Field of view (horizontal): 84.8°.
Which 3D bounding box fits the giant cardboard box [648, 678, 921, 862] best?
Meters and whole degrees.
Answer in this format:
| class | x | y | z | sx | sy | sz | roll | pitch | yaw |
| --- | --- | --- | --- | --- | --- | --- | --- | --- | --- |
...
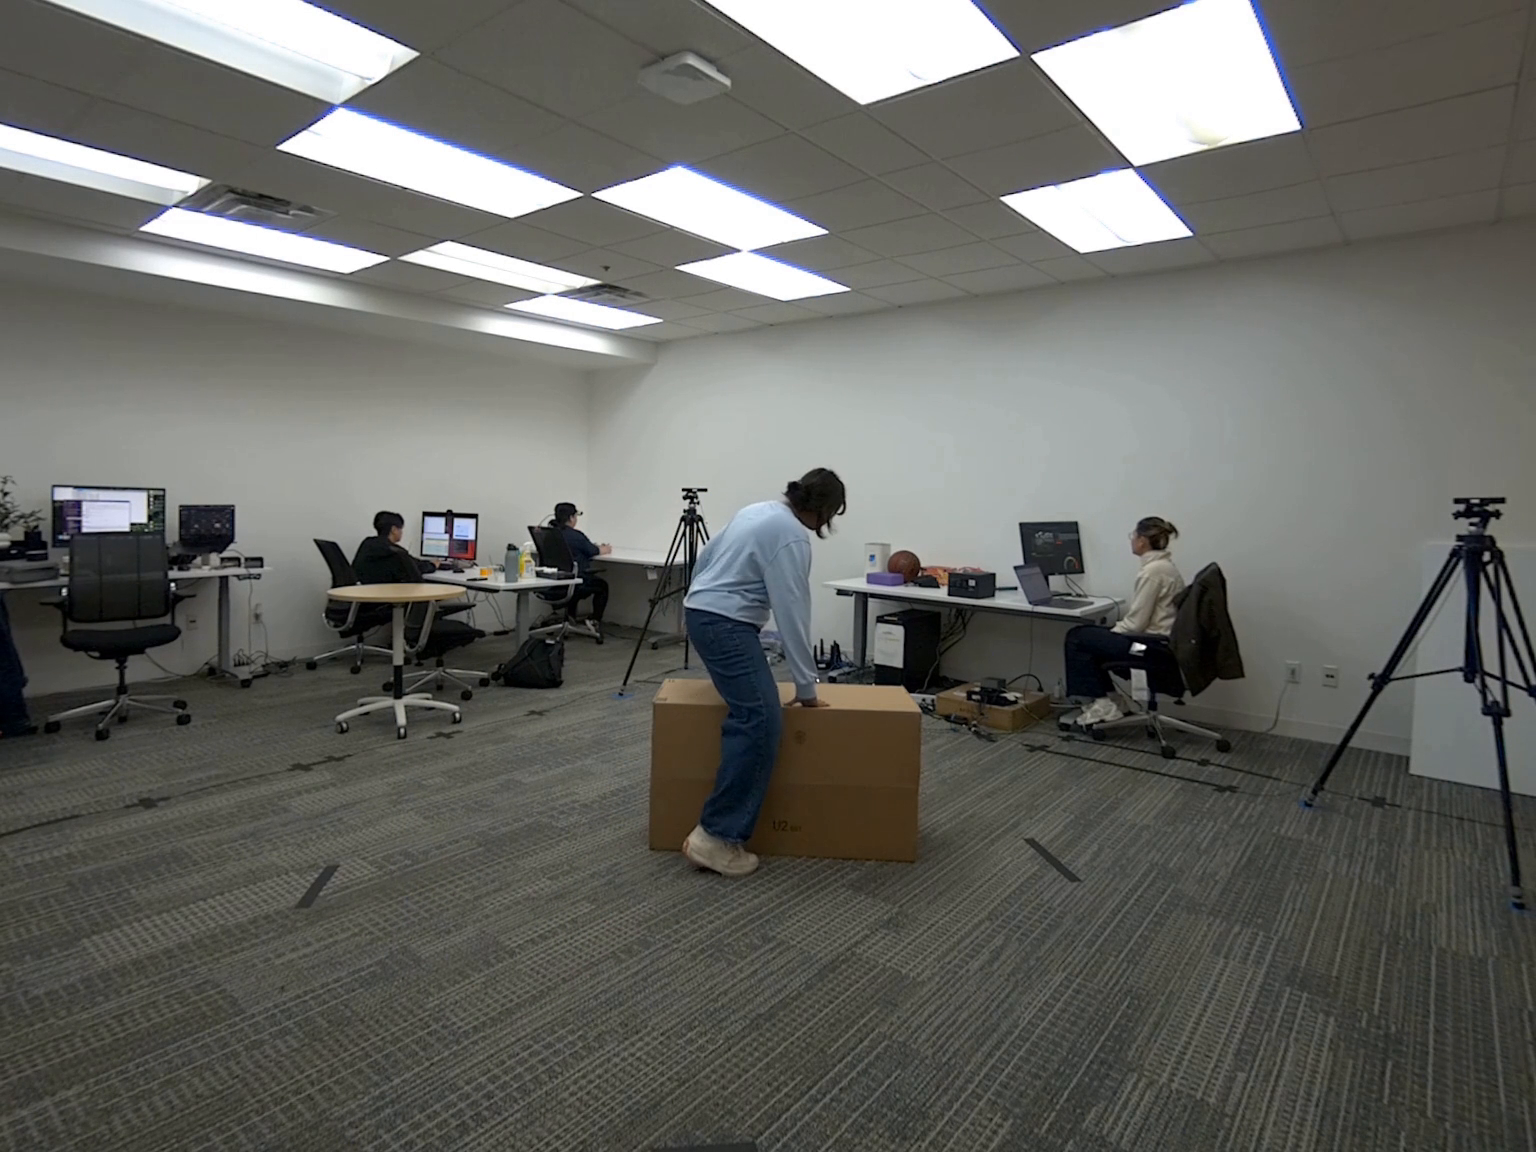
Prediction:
| class | x | y | z | sx | sy | sz | roll | pitch | yaw |
| --- | --- | --- | --- | --- | --- | --- | --- | --- | --- |
| giant cardboard box | 0.055 | 0.757 | 3.436 | 1.029 | 0.576 | 0.426 | 1 | 3 | 3 |
